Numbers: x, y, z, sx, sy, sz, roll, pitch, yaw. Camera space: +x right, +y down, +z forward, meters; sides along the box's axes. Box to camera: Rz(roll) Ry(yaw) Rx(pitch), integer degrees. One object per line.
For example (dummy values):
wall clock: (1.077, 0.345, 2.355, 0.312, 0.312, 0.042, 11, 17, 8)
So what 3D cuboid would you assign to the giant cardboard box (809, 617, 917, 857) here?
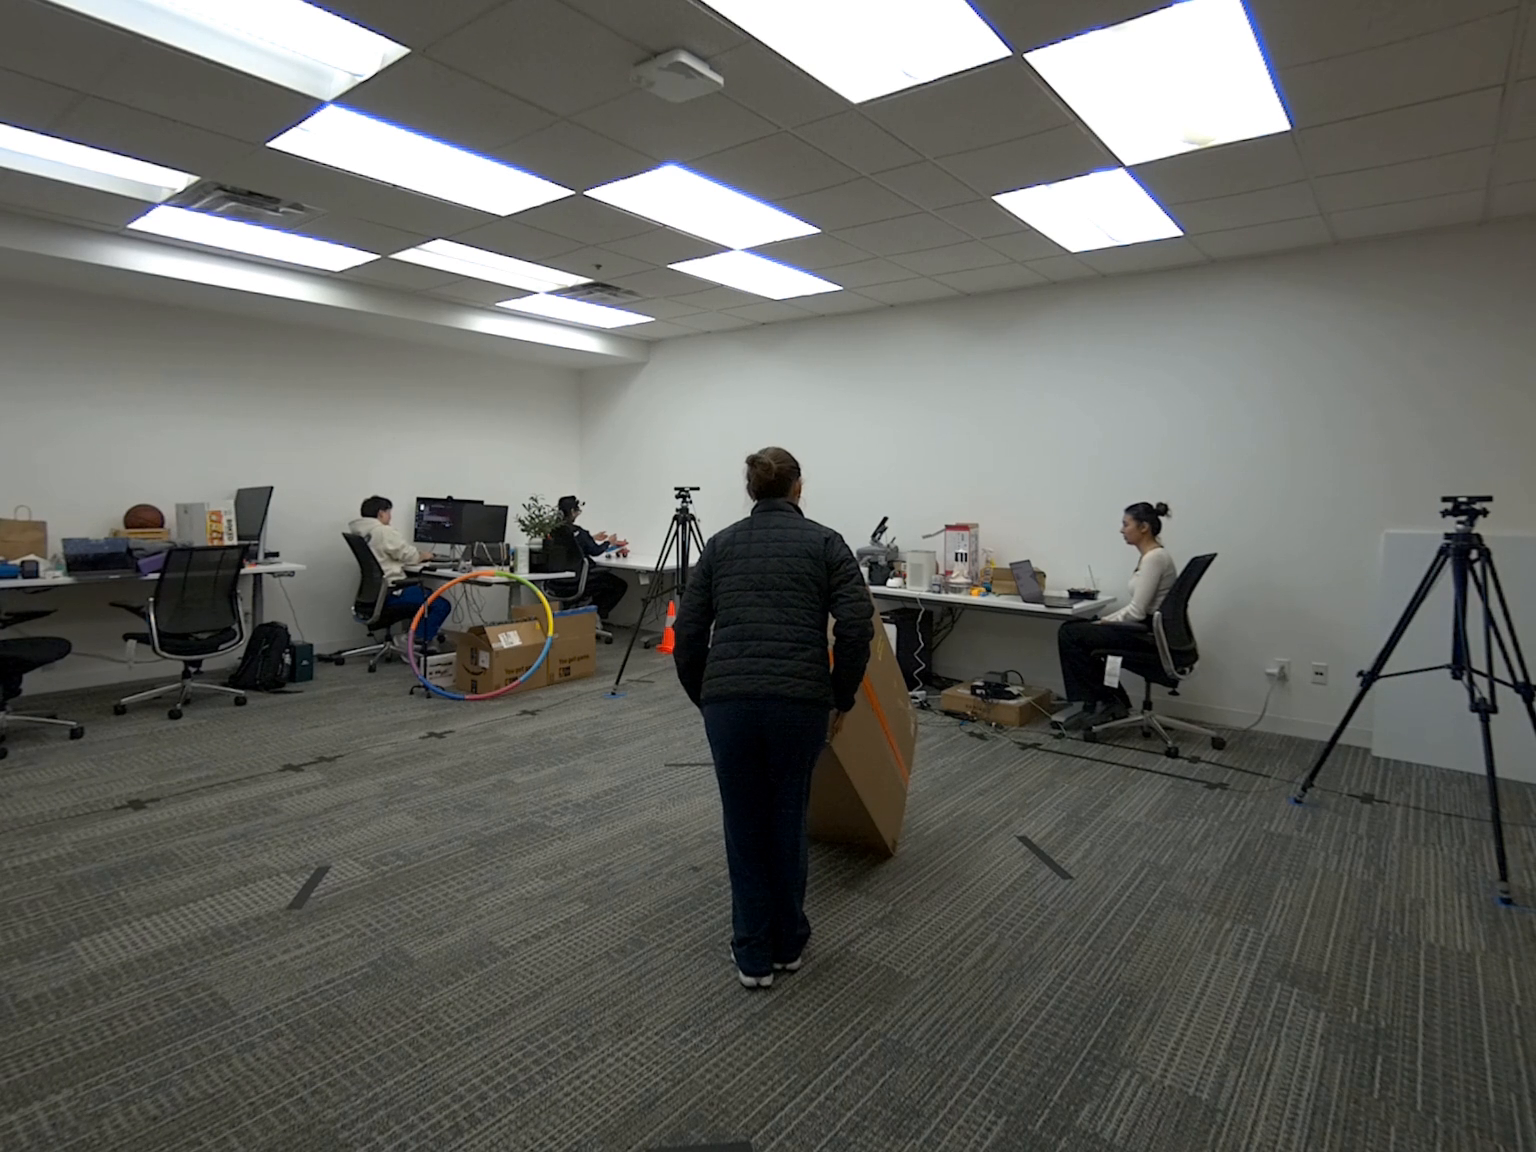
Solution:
giant cardboard box: (0.240, 0.533, 3.135, 0.459, 0.592, 0.986, 4, -33, 25)
